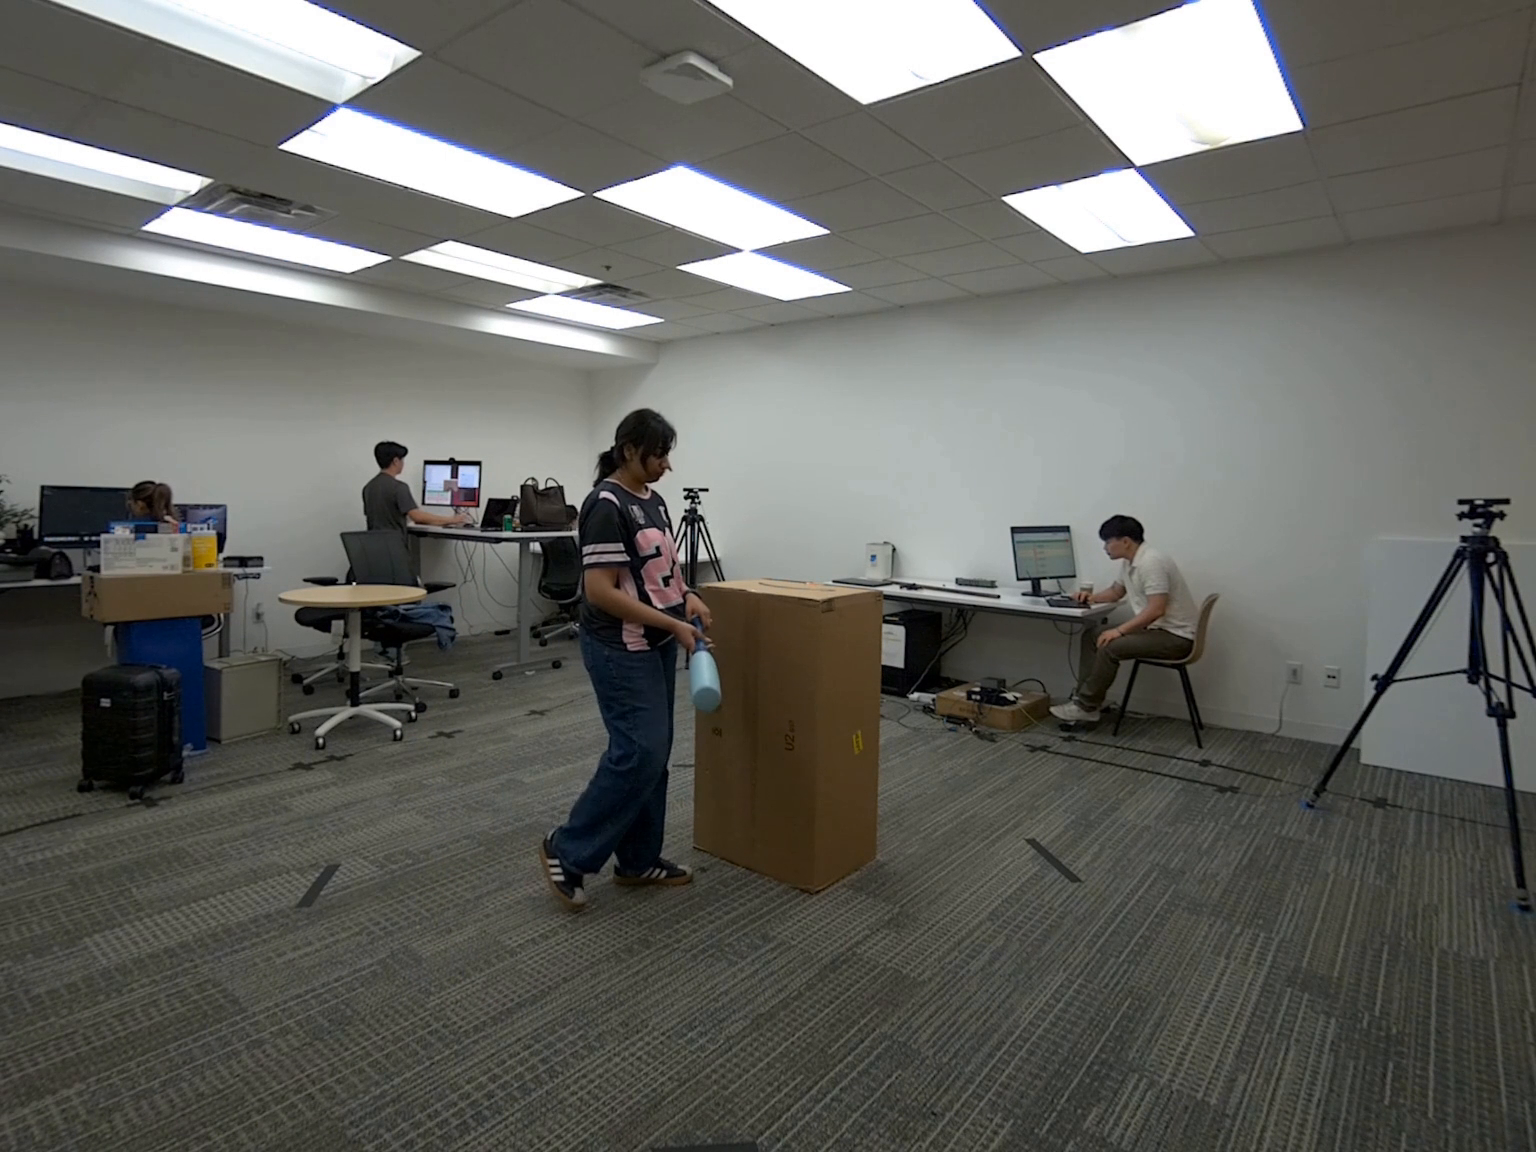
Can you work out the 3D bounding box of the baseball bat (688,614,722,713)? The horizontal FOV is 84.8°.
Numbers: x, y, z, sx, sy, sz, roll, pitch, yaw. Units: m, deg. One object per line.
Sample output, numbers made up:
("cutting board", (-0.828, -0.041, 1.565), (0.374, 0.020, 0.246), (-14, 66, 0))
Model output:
("baseball bat", (-0.223, 0.259, 2.643), (0.088, 0.087, 0.556), (0, 20, -9))
